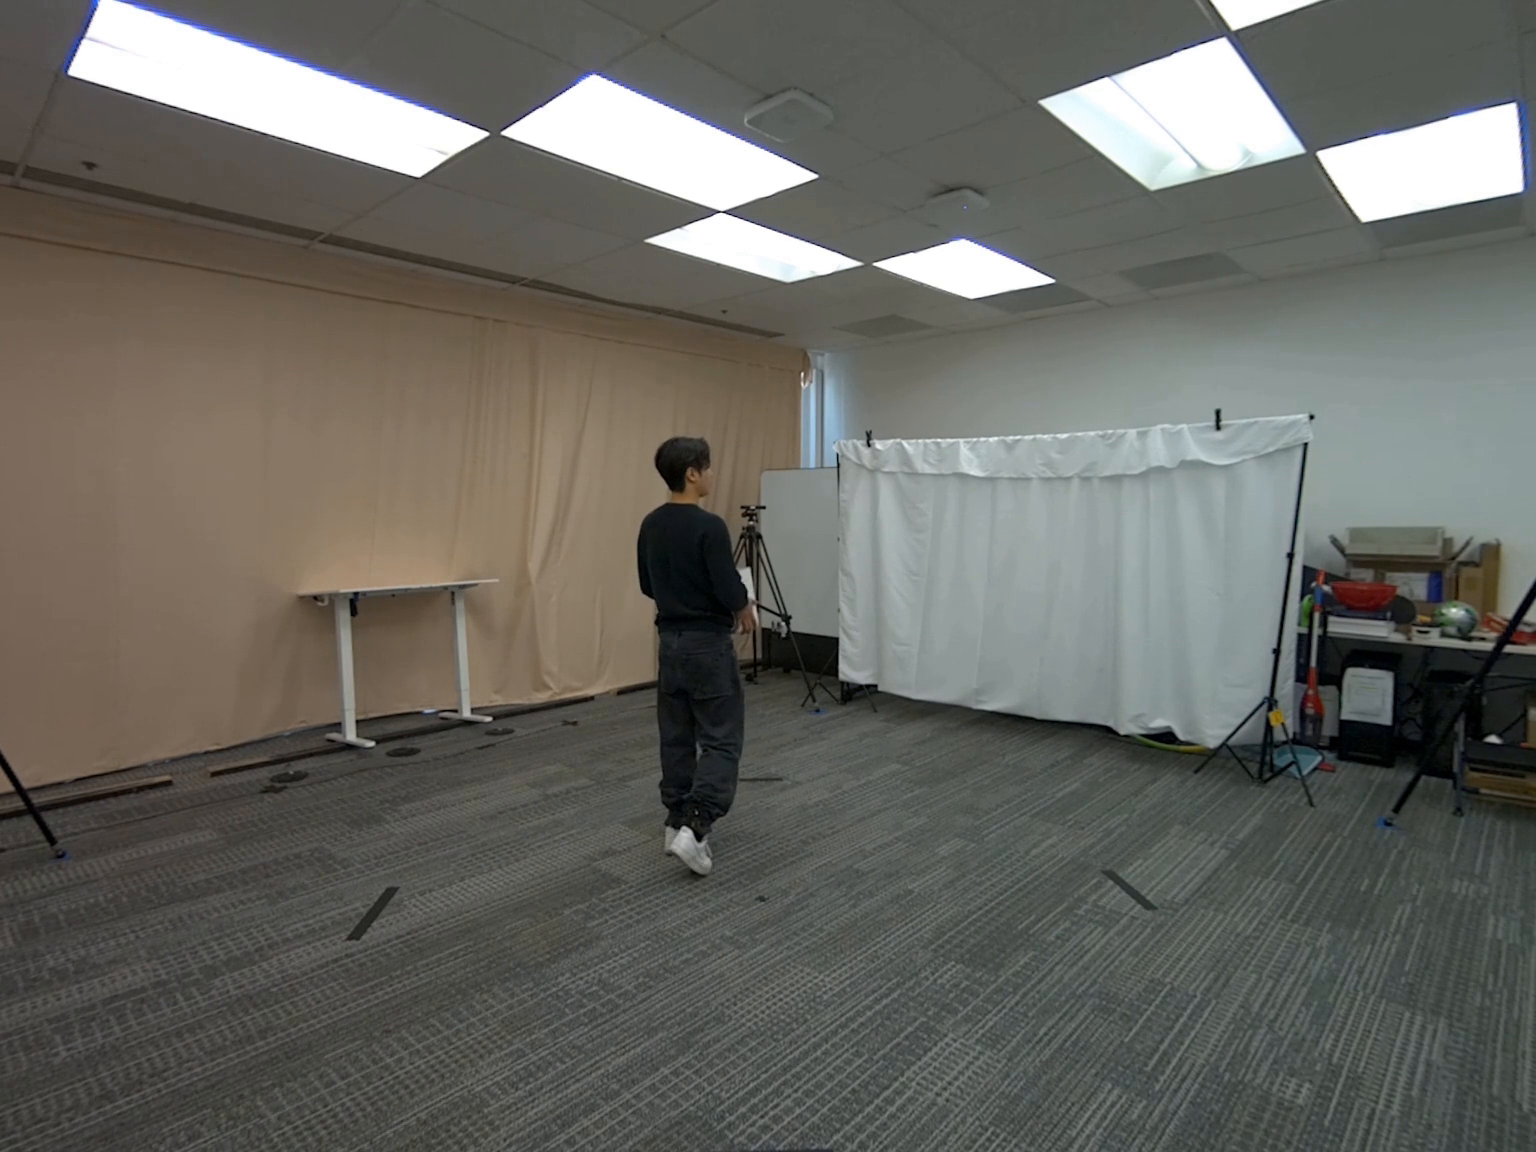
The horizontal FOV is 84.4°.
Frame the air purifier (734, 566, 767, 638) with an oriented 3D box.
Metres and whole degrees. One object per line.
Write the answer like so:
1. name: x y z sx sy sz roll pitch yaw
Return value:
1. air purifier: -0.147 0.106 3.555 0.166 0.265 0.176 -10 3 -39
